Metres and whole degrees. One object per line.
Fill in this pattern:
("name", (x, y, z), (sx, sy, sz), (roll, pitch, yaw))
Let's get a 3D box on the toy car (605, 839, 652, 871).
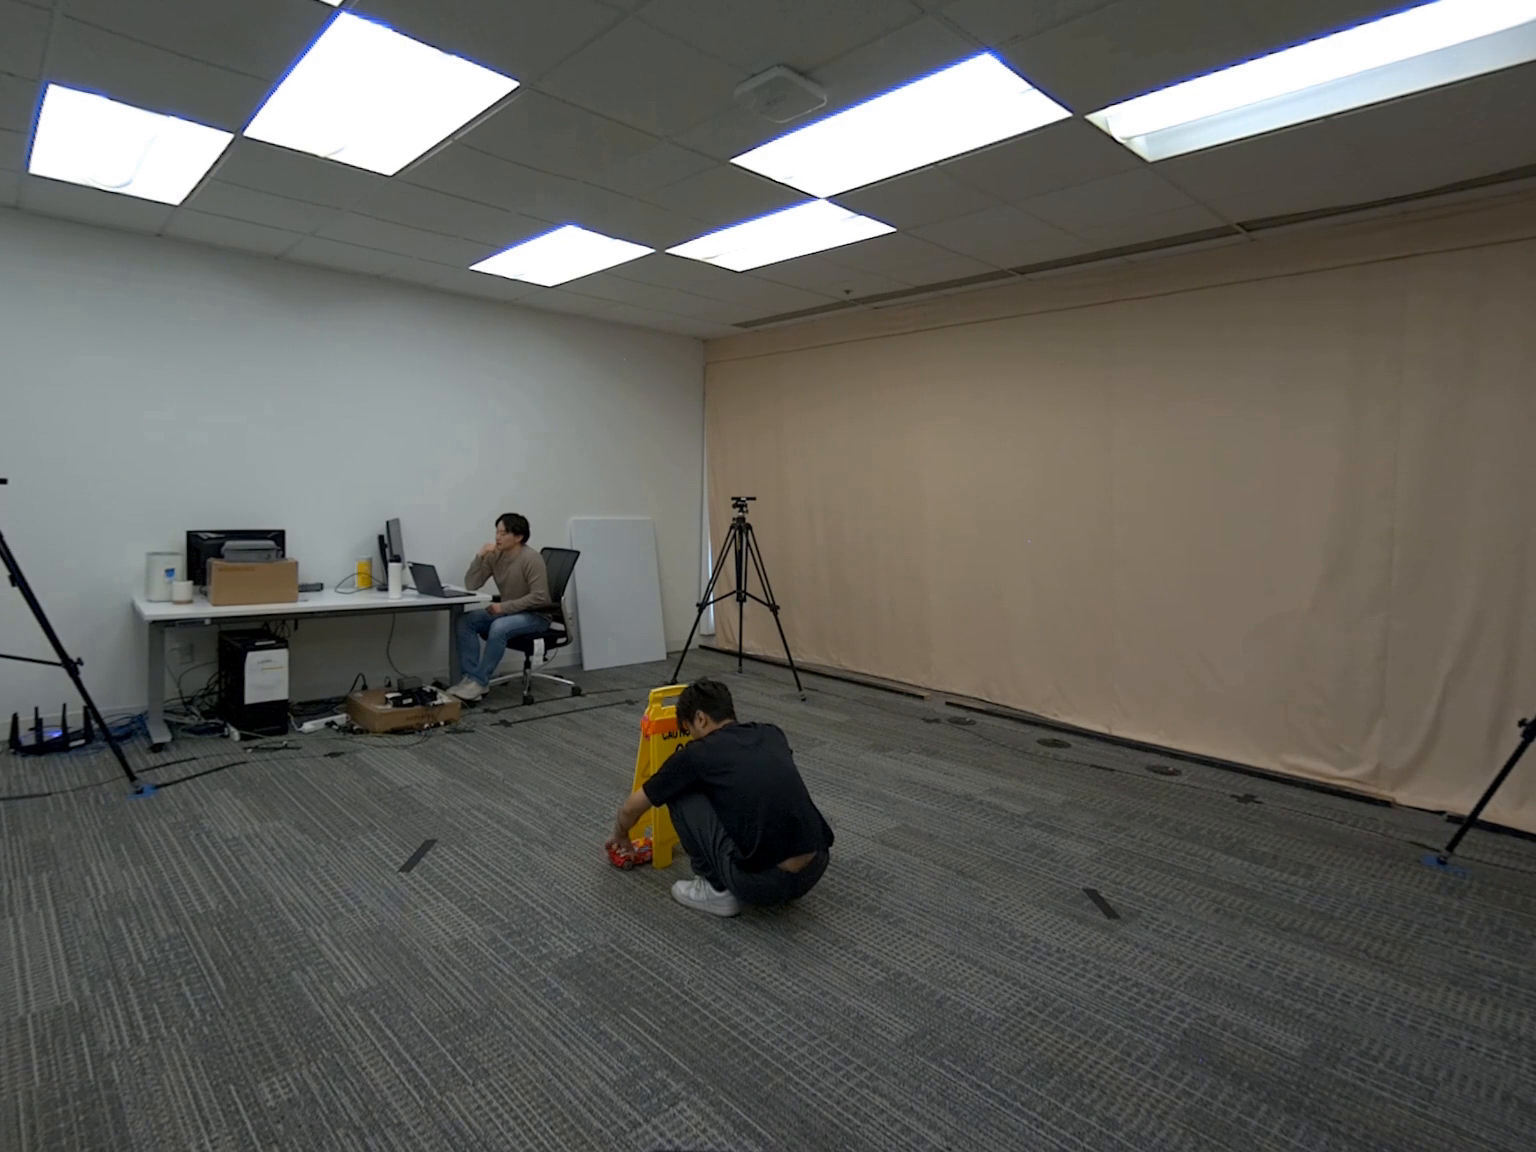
("toy car", (-0.492, 1.053, 3.230), (0.250, 0.082, 0.133), (-17, 15, -35))
